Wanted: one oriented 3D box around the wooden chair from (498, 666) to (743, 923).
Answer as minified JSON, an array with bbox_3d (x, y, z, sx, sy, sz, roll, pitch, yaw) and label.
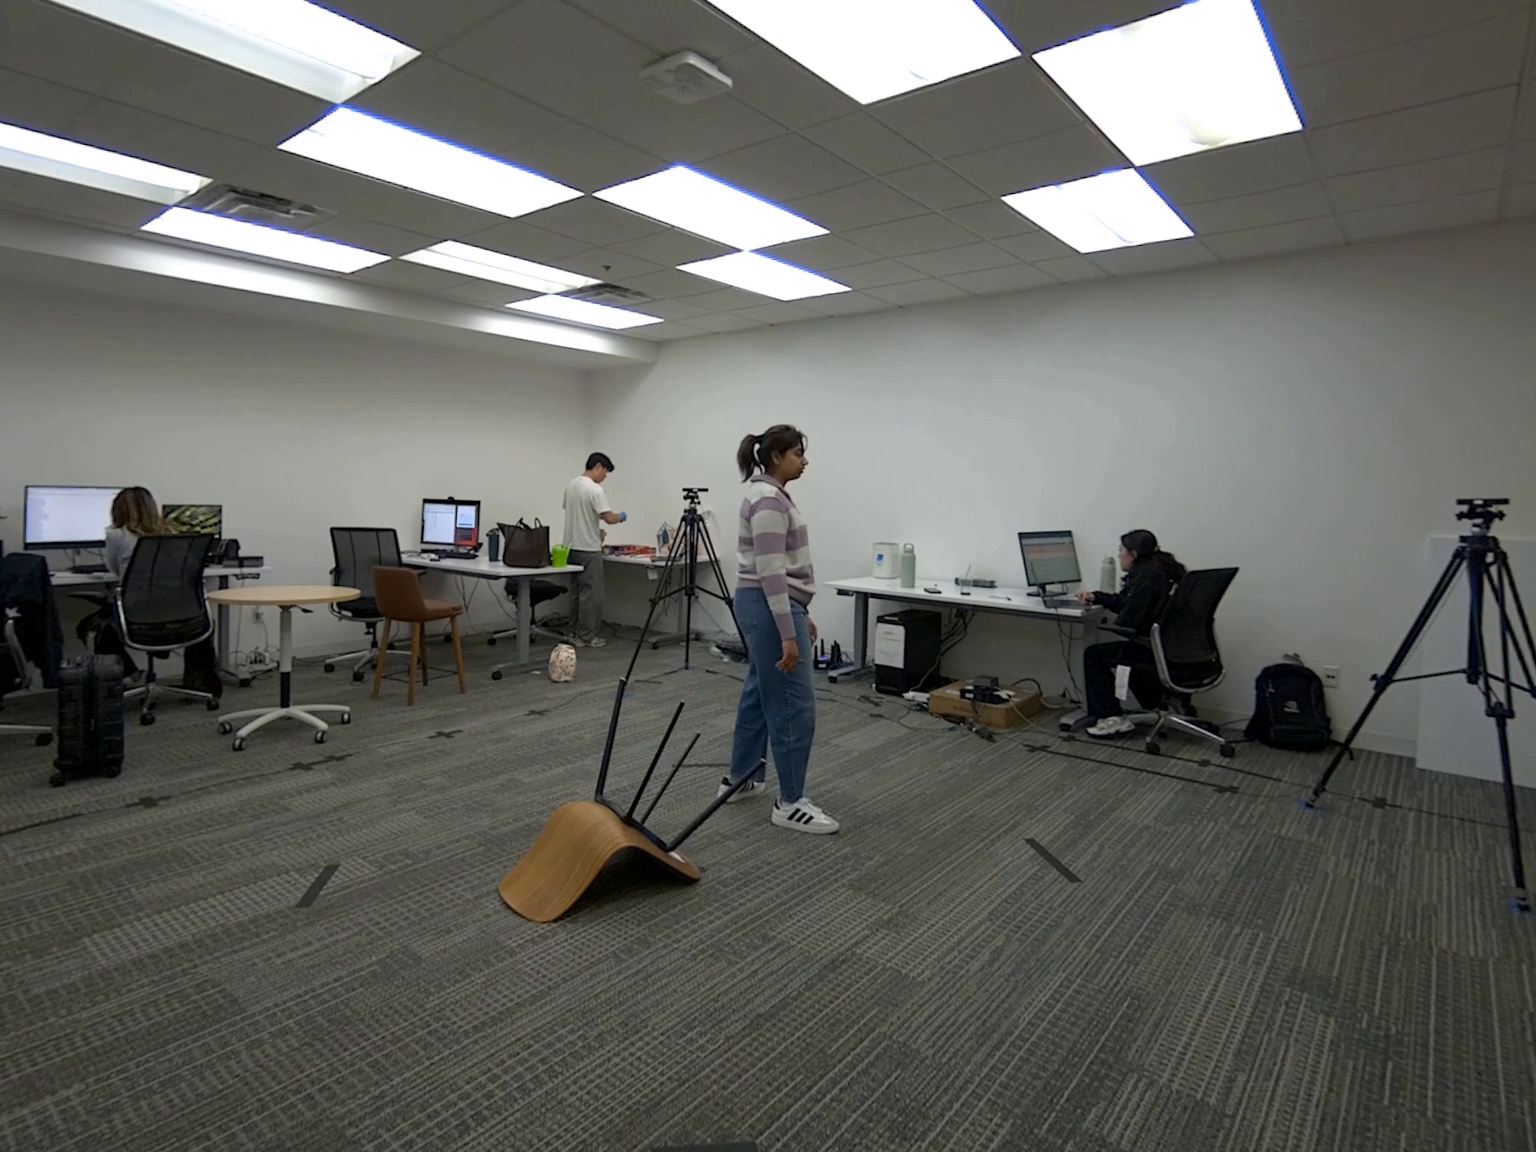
[{"bbox_3d":[-0.494,0.898,3.074,0.505,0.880,0.494,46,-23,-30],"label":"wooden chair"}]
